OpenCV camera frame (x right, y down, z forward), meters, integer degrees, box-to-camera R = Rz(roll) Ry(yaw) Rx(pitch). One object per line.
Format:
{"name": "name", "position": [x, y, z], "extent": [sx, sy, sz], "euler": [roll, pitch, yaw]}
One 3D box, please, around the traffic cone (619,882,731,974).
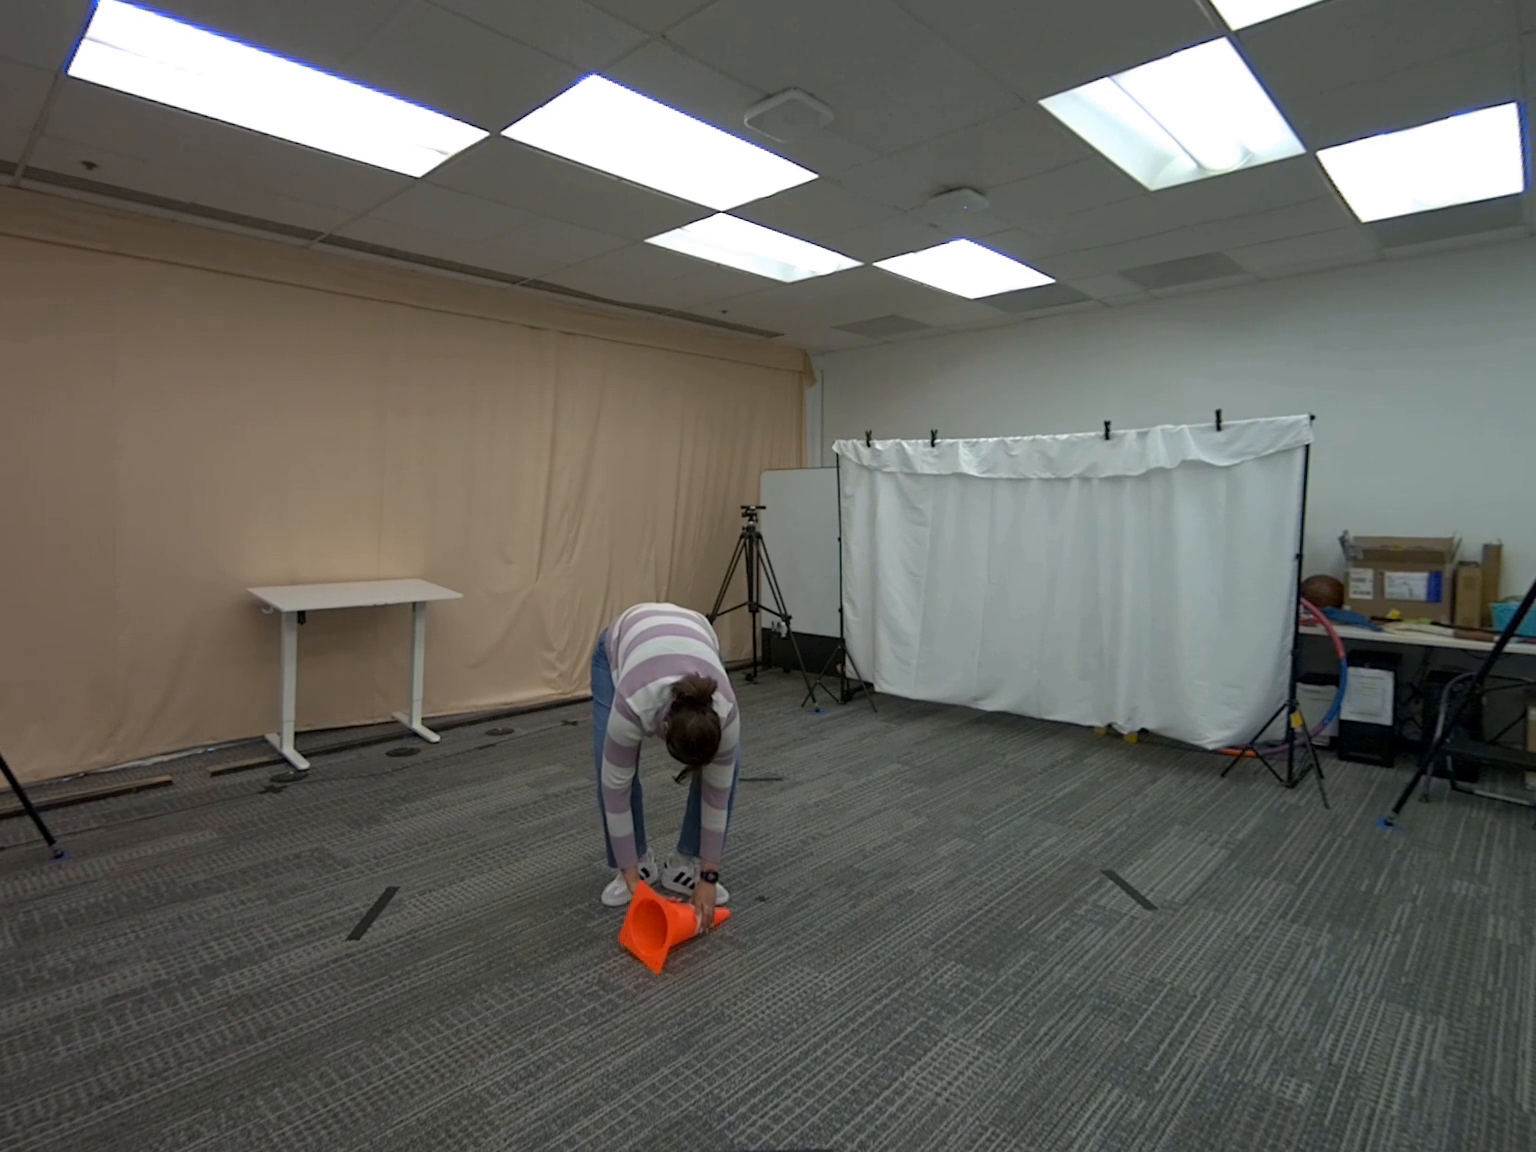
{"name": "traffic cone", "position": [-0.250, 1.113, 2.705], "extent": [0.212, 0.203, 0.370], "euler": [18, -2, 40]}
